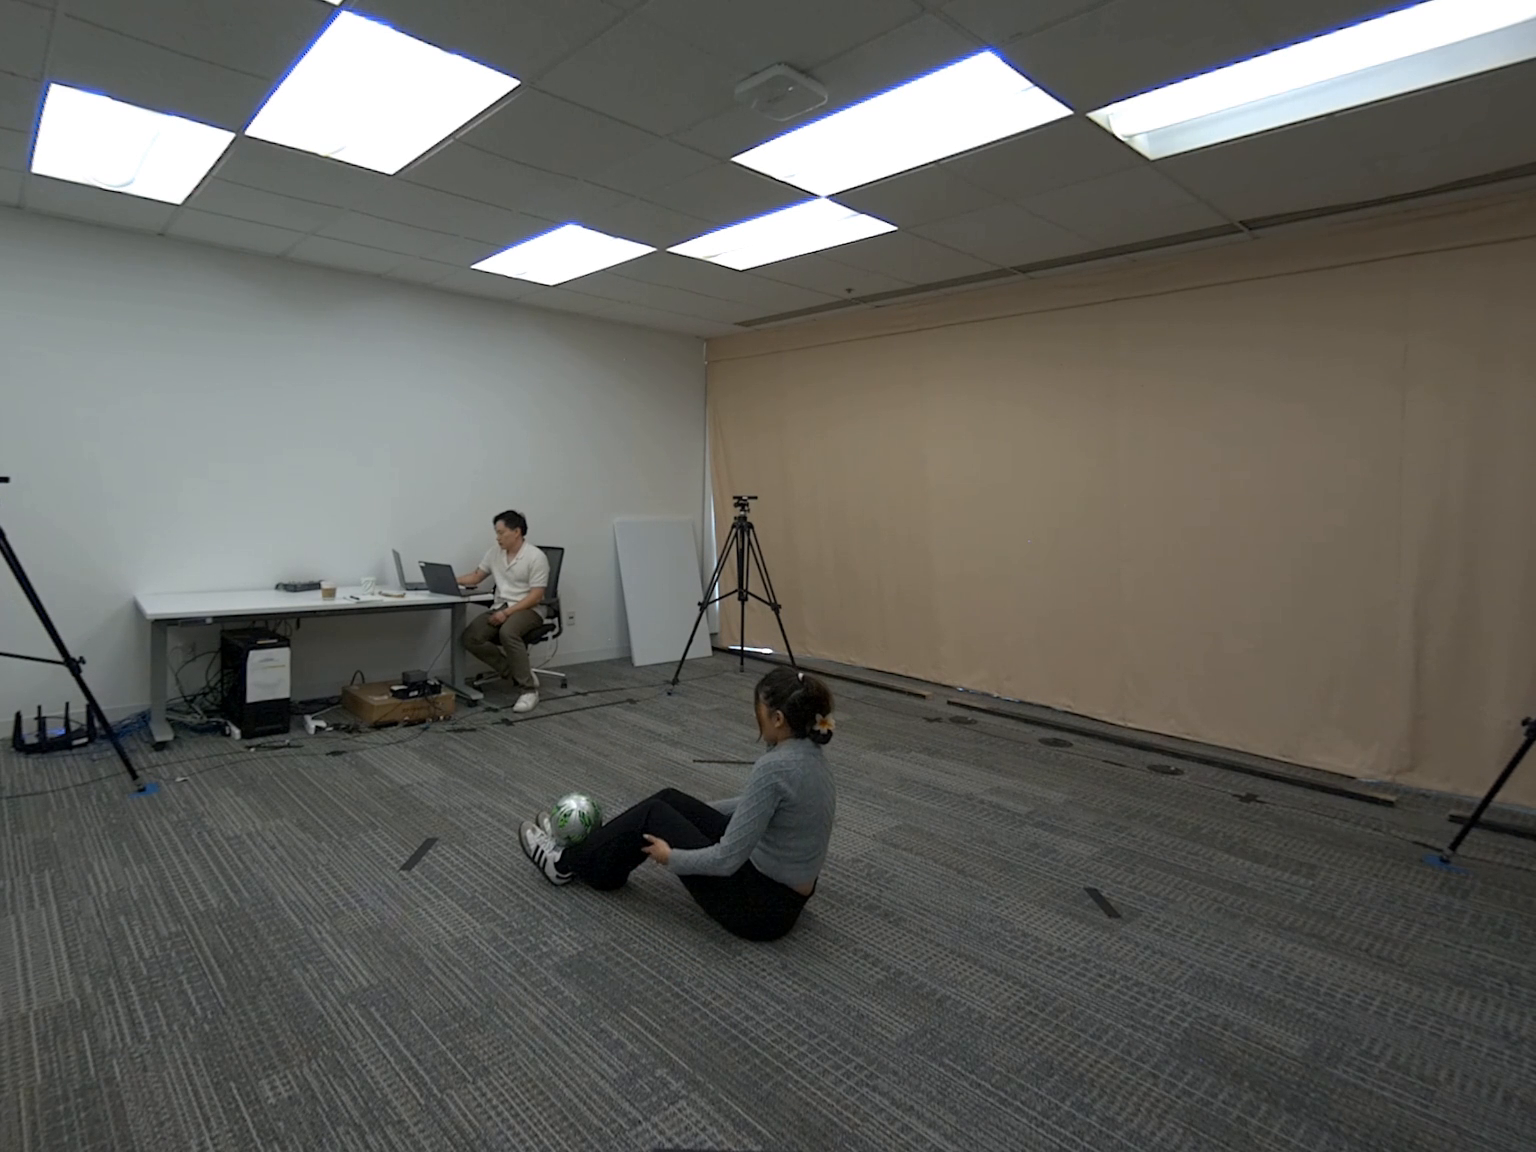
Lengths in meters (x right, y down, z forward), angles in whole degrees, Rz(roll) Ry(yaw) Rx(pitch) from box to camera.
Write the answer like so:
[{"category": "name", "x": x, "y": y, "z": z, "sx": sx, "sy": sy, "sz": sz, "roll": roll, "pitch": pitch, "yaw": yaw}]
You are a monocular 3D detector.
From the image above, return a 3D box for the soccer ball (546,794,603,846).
[{"category": "soccer ball", "x": -0.689, "y": 0.865, "z": 3.003, "sx": 0.187, "sy": 0.187, "sz": 0.188, "roll": 1, "pitch": 4, "yaw": -1}]
